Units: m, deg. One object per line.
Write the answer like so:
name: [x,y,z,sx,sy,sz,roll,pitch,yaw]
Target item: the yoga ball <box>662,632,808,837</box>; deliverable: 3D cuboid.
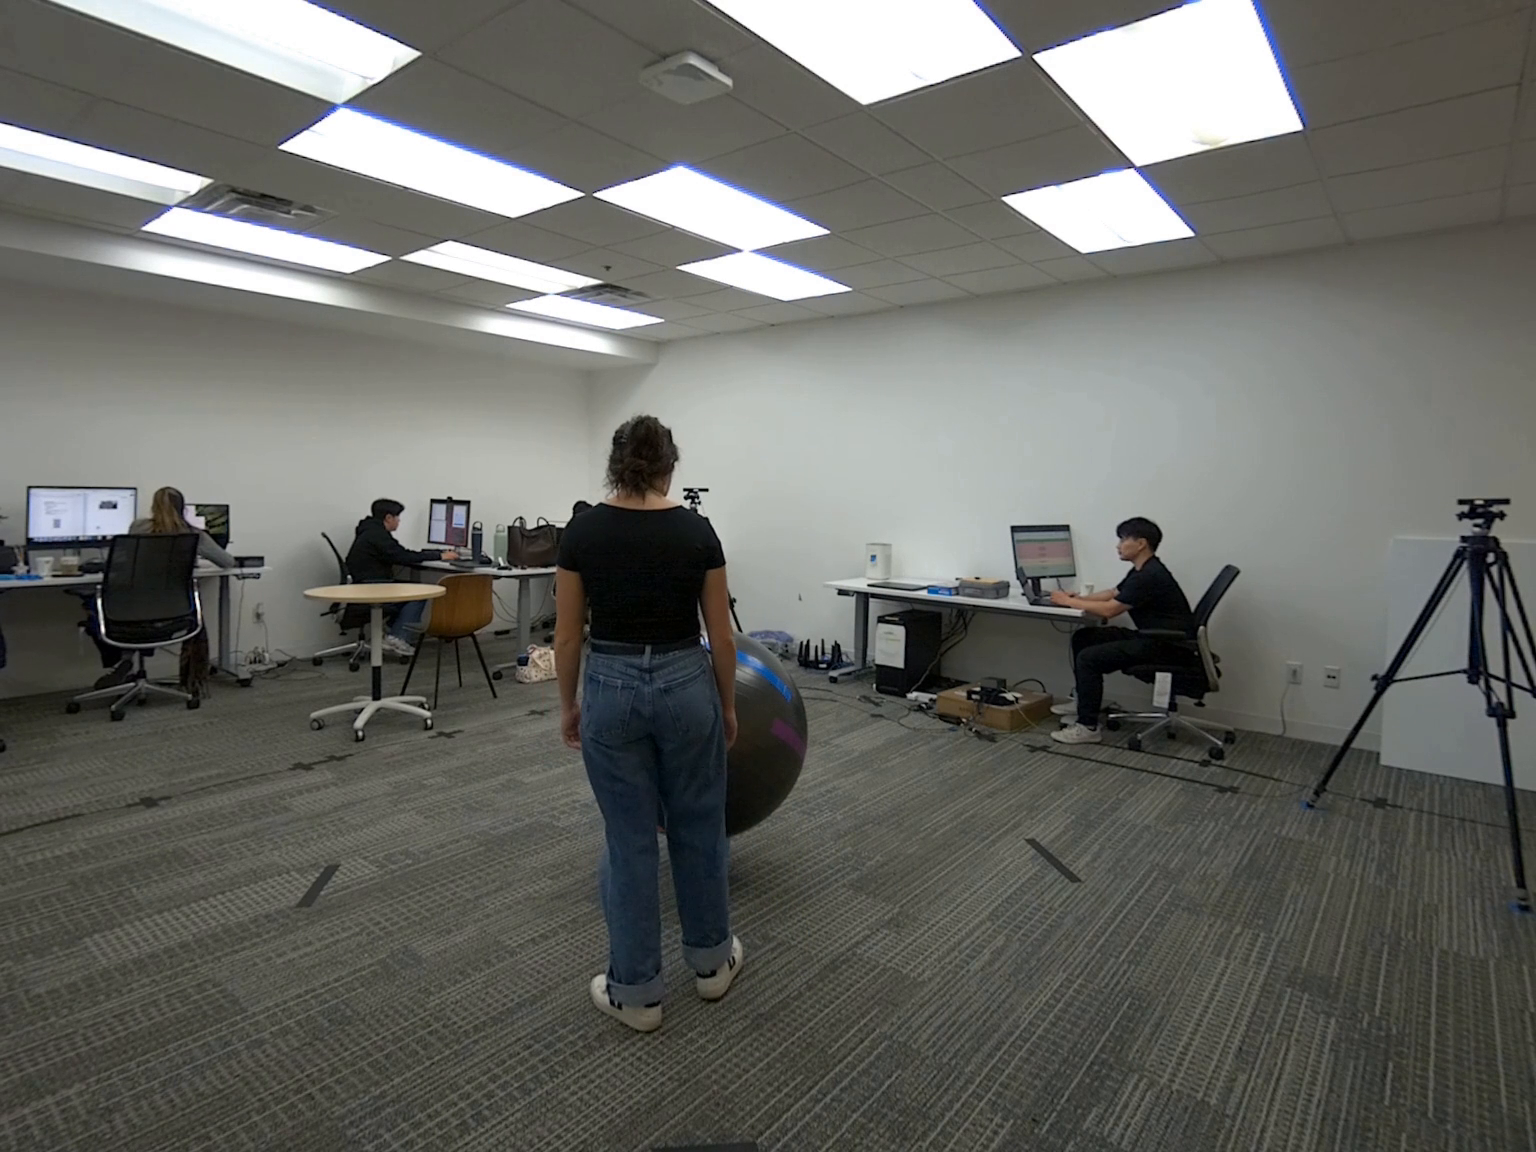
yoga ball: [-0.246,0.559,3.090,0.757,0.756,0.762,1,4,-2]
